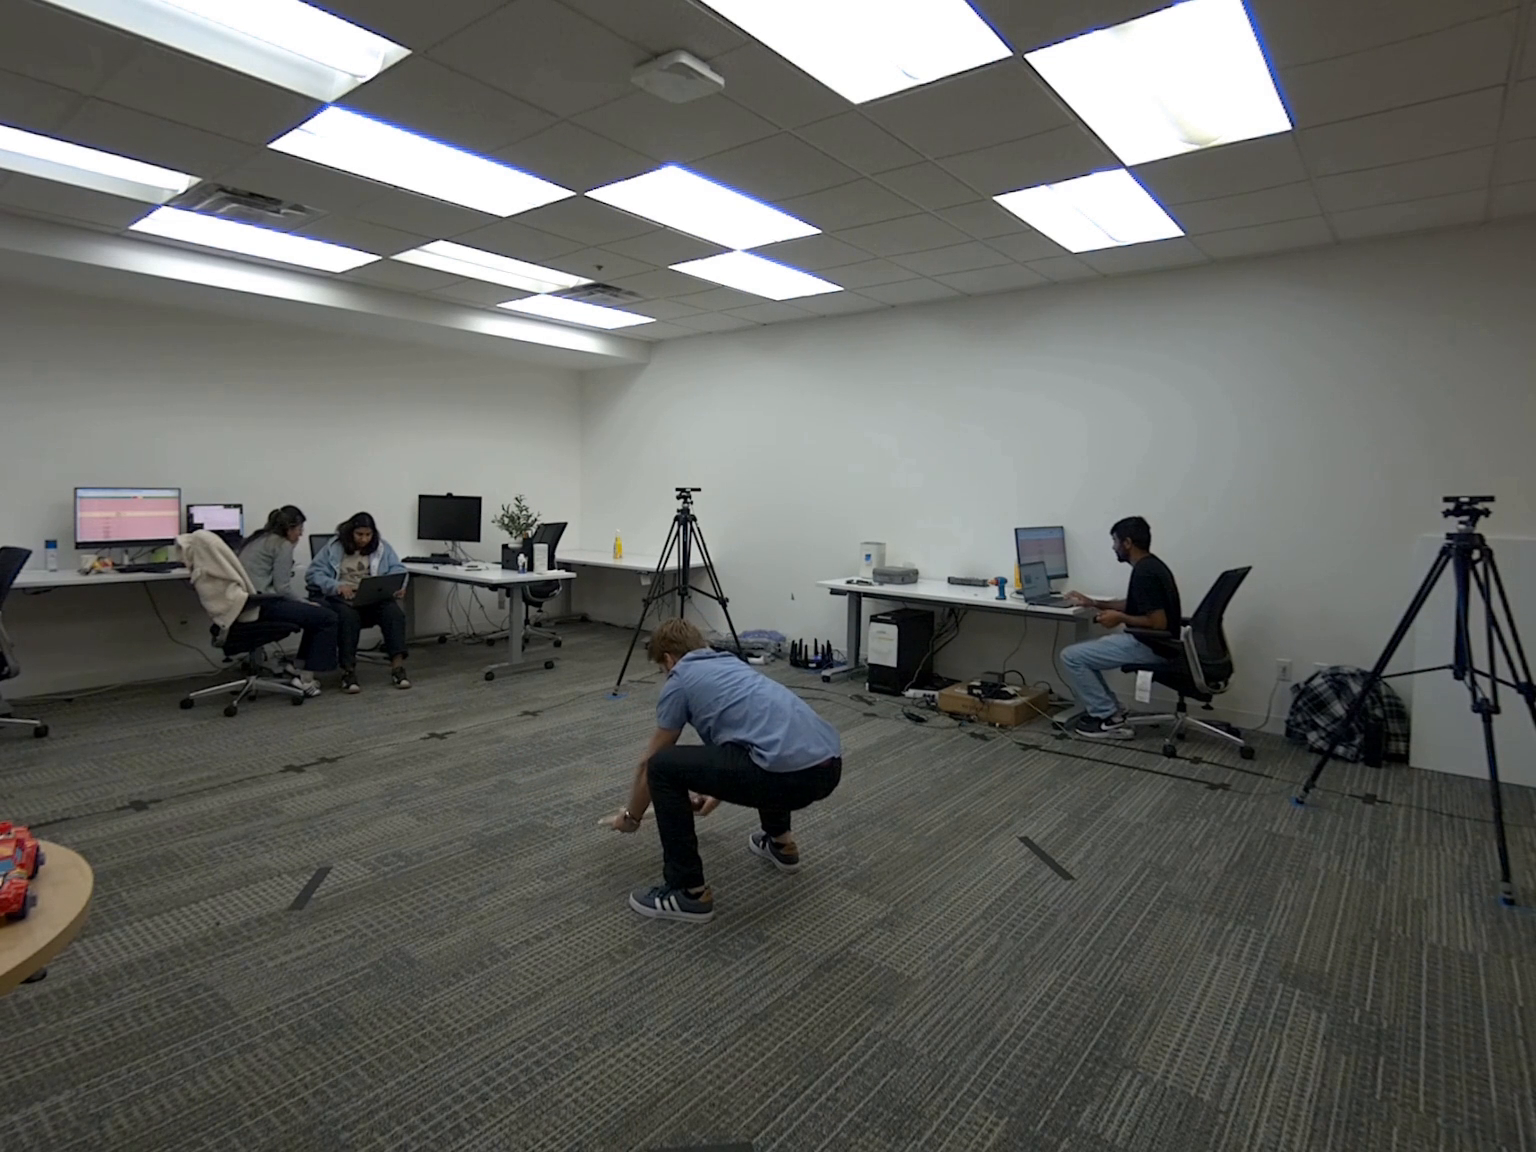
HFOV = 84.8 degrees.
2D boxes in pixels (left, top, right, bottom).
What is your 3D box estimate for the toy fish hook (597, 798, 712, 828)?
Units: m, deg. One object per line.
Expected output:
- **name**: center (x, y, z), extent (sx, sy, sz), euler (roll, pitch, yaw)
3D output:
- **toy fish hook**: center (-0.441, 0.901, 3.335), extent (0.229, 0.049, 0.489), euler (-15, -13, 42)
